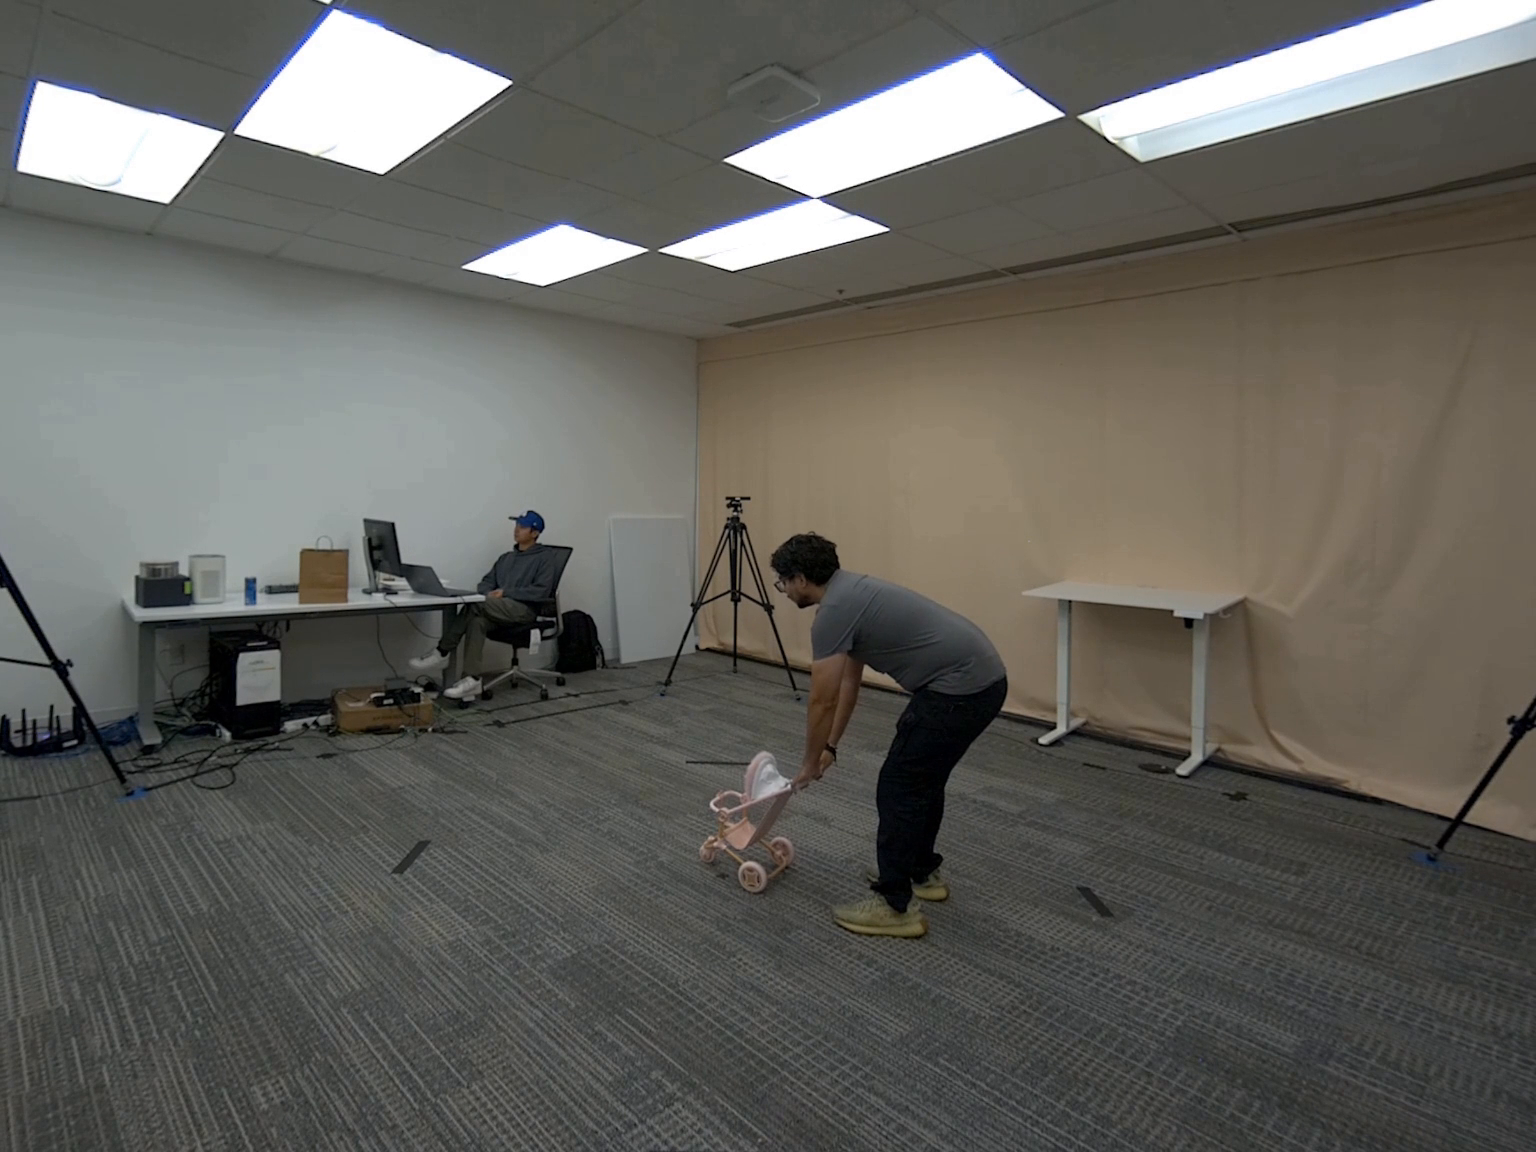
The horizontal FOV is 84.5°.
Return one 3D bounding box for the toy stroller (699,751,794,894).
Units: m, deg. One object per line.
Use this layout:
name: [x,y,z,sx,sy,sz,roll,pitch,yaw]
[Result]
toy stroller: [-0.057,0.884,3.112,0.350,0.532,0.275,24,14,29]
